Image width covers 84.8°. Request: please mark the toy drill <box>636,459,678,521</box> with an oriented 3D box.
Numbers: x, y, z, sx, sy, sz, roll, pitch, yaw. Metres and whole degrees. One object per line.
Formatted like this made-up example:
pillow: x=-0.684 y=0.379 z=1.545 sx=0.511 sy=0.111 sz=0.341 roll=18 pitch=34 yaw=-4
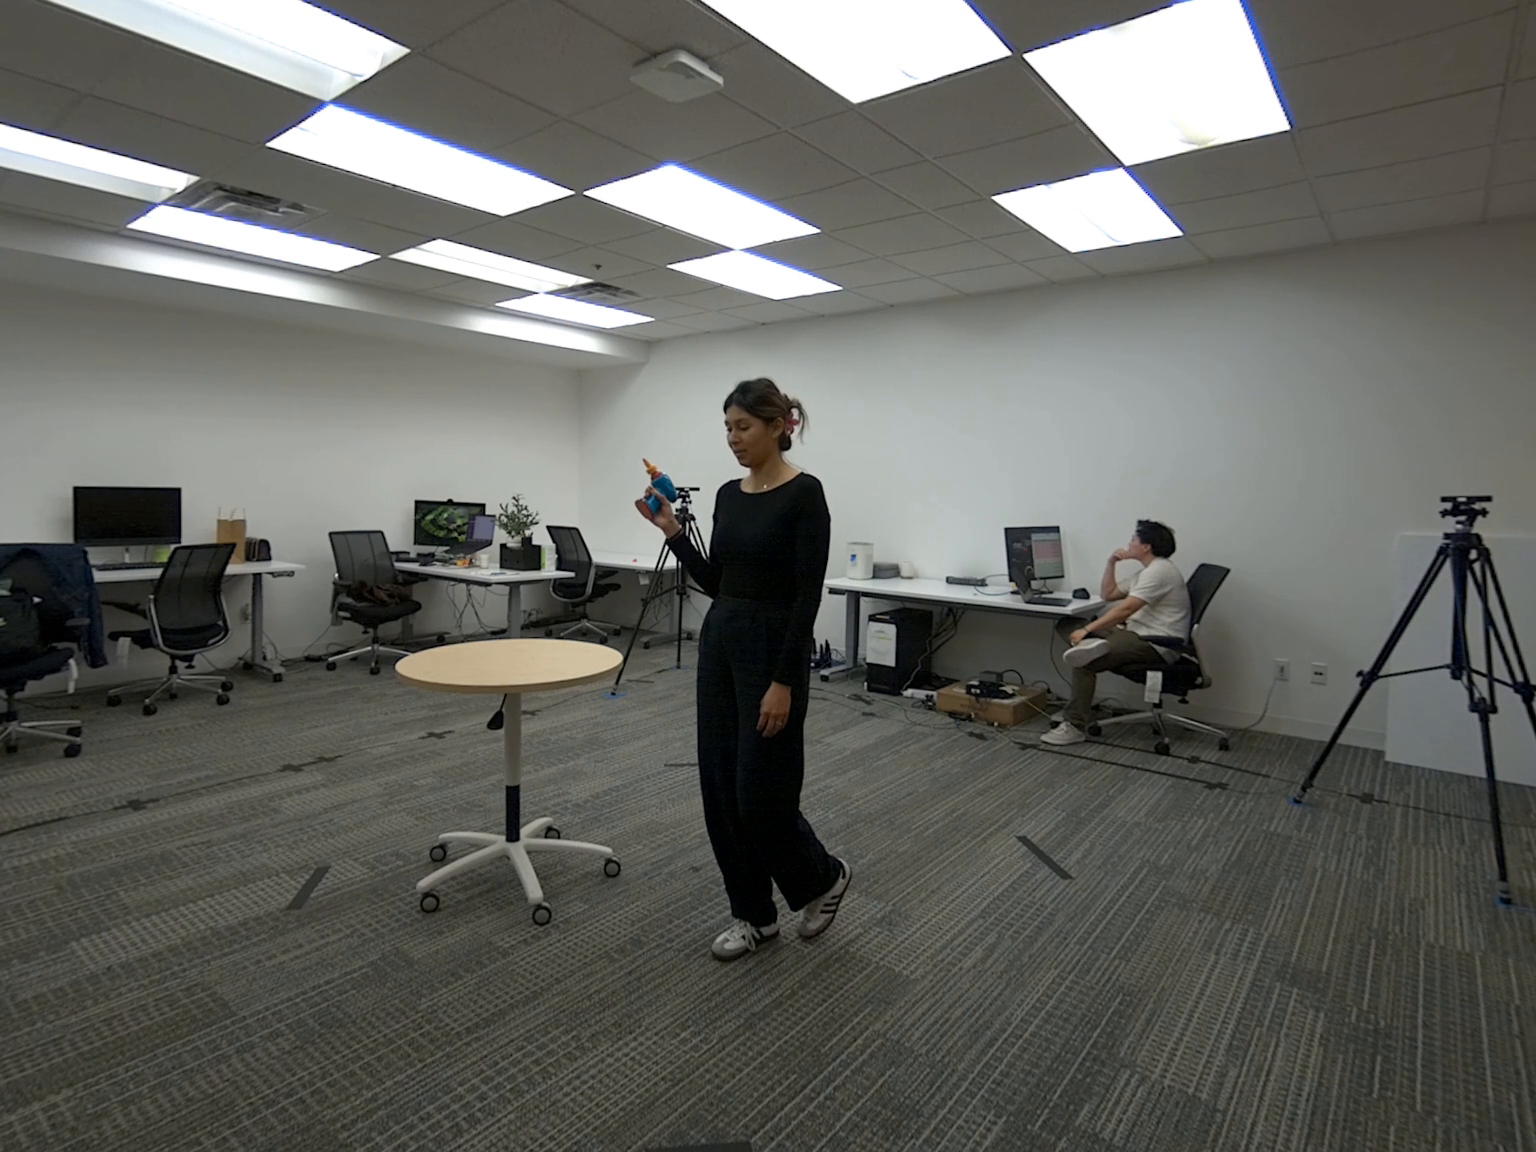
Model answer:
toy drill: x=-0.370 y=-0.277 z=2.637 sx=0.145 sy=0.166 sz=0.063 roll=-43 pitch=19 yaw=-33
